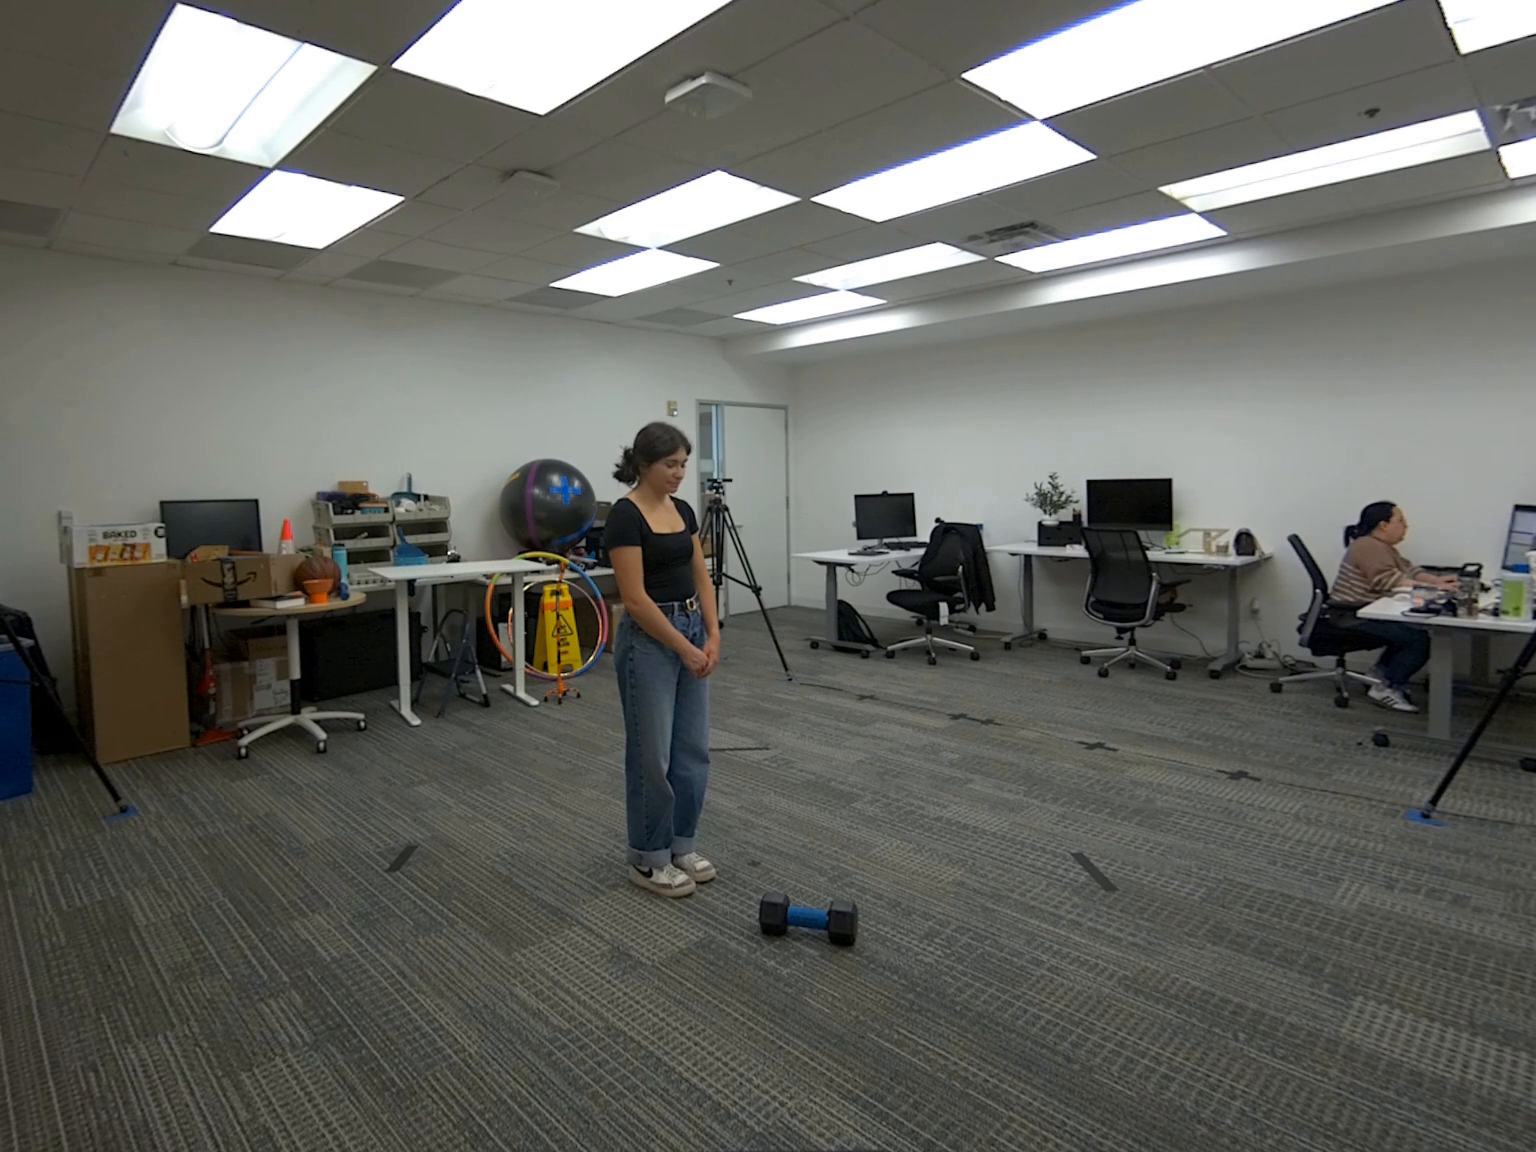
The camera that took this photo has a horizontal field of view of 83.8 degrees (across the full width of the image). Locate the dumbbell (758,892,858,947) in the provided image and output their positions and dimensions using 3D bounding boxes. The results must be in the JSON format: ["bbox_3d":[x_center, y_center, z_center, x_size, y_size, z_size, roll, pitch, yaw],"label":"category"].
[{"bbox_3d":[0.128,1.045,2.607,0.298,0.119,0.110,1,35,16],"label":"dumbbell"}]
